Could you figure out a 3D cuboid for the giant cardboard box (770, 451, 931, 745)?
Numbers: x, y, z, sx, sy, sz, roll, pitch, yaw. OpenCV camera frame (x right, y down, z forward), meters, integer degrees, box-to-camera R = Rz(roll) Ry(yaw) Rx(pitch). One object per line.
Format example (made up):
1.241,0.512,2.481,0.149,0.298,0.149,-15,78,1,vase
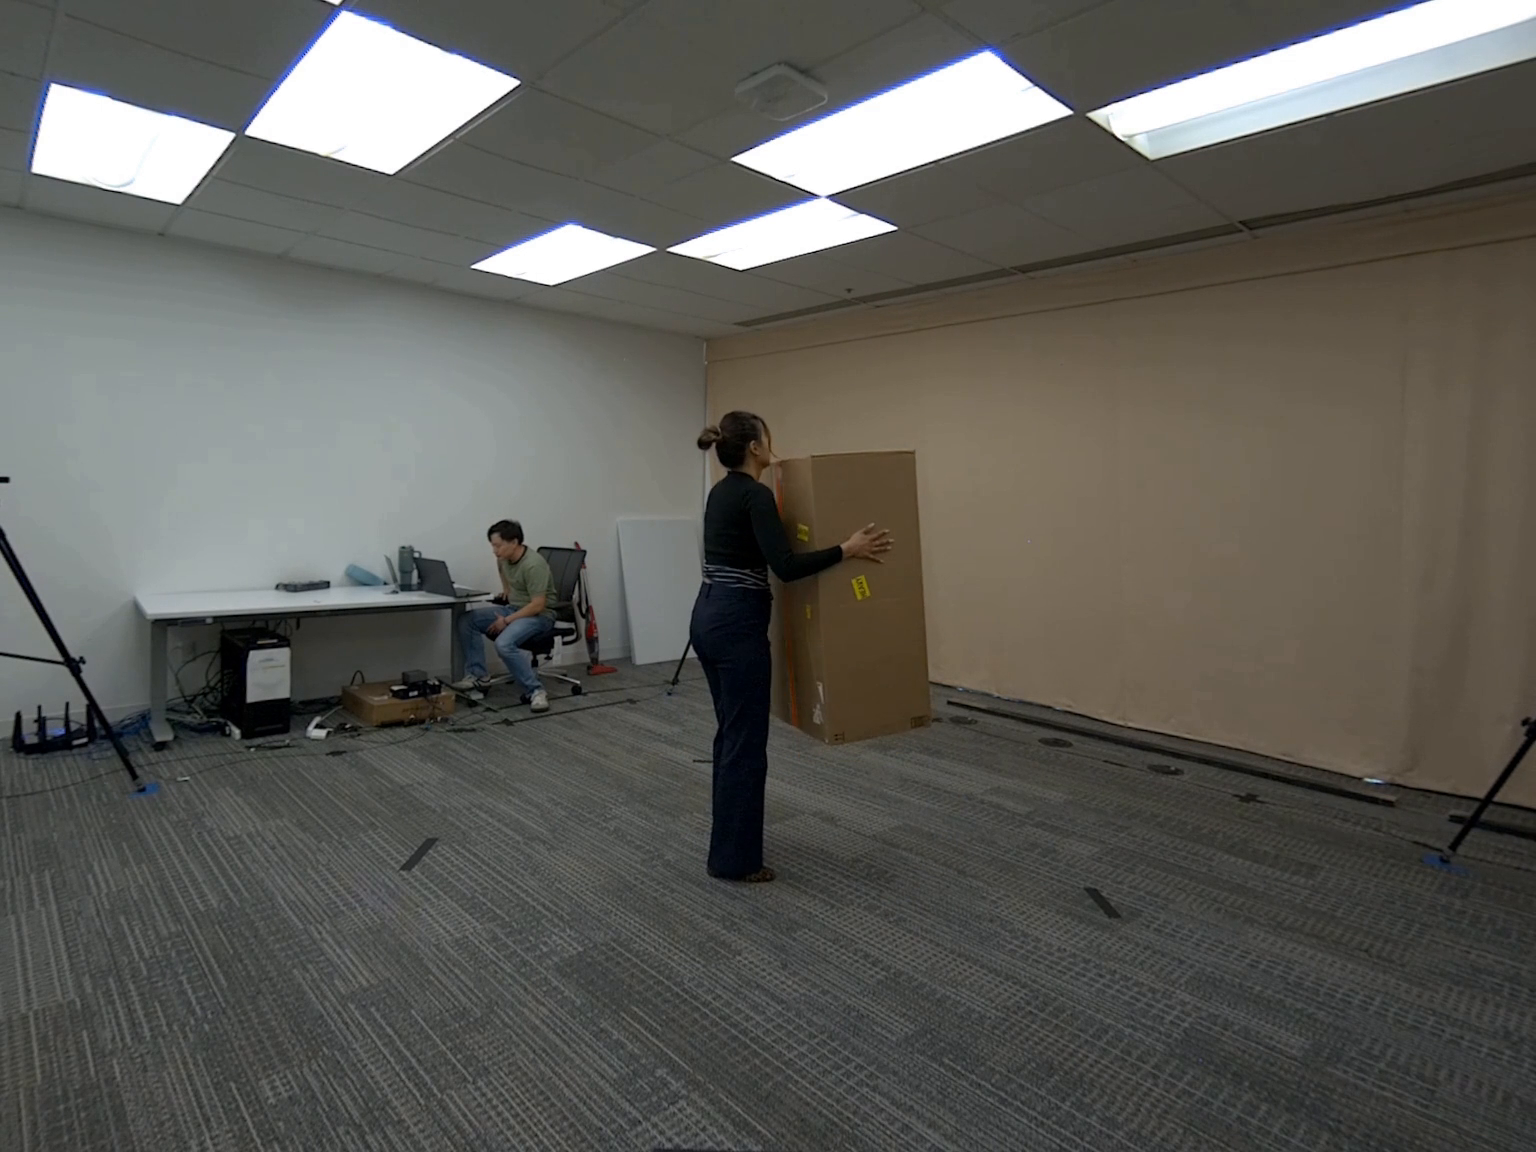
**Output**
0.259,0.055,3.262,0.420,1.023,0.587,-5,4,-21,giant cardboard box
